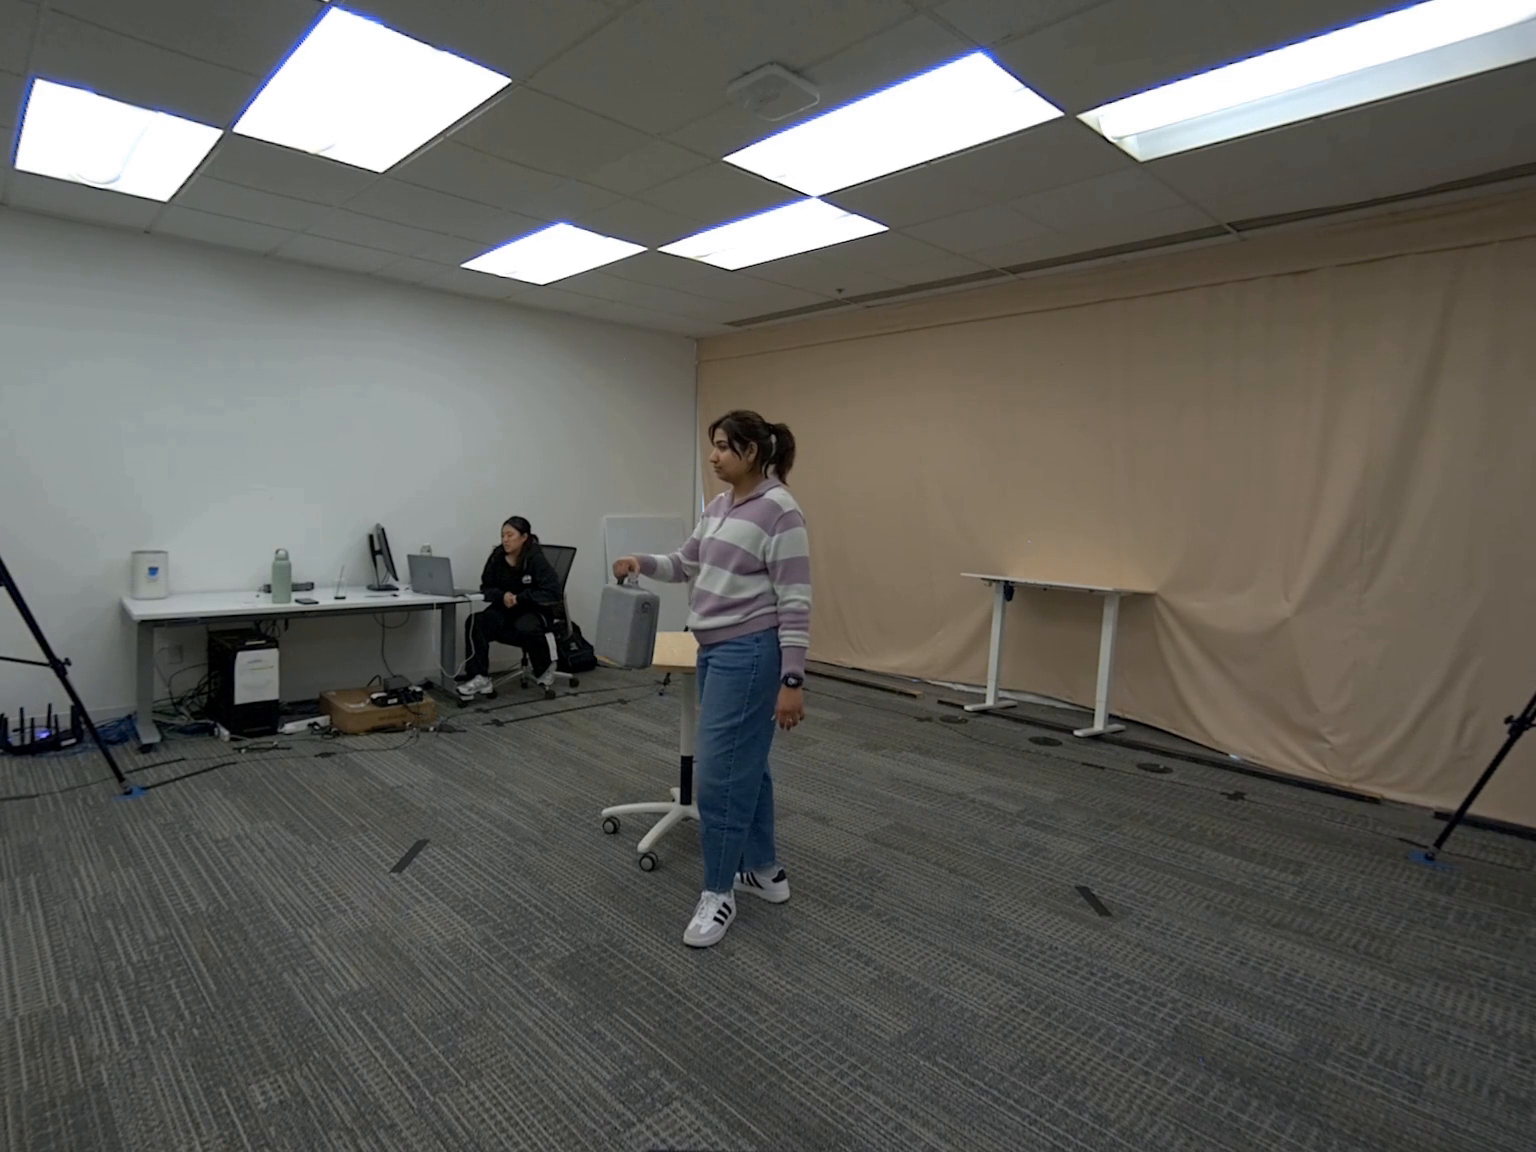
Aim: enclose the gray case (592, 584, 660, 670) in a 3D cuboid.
[{"bbox_3d":[-0.471,0.160,2.799,0.102,0.260,0.263,5,3,-35],"label":"gray case"}]
